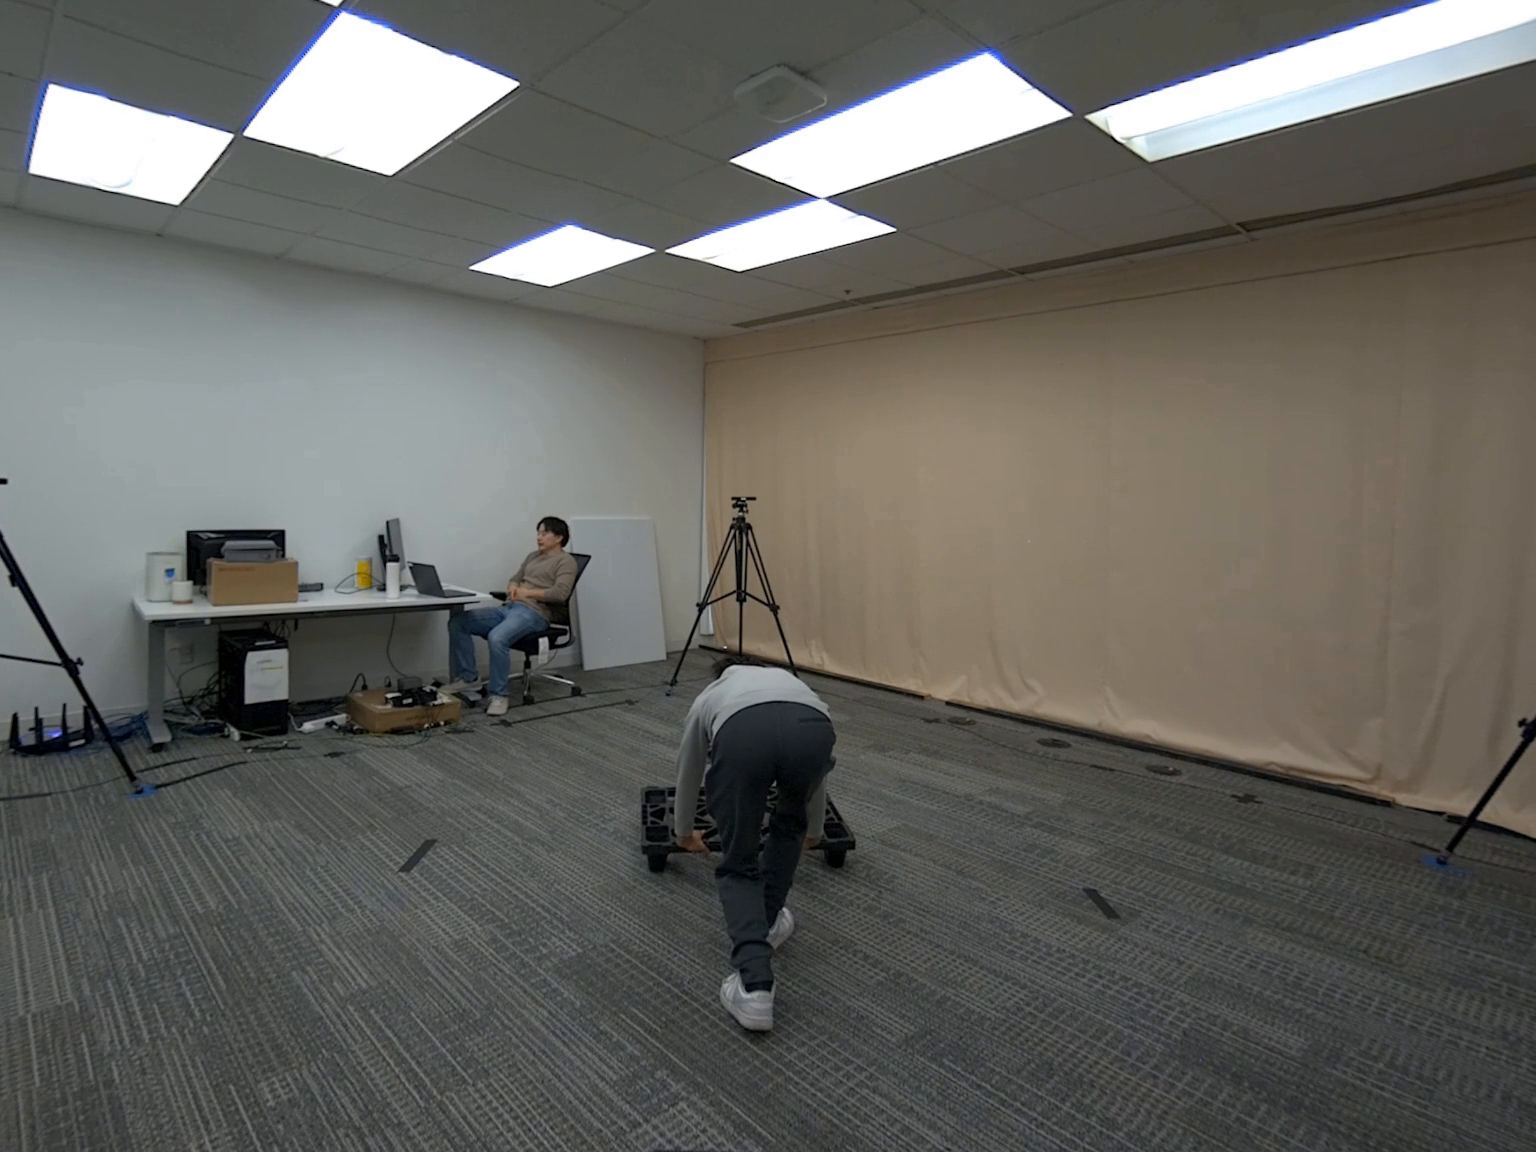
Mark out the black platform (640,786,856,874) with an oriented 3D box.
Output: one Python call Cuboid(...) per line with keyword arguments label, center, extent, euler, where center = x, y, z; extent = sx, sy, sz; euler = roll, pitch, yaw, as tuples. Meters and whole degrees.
Cuboid(label="black platform", center=(-0.117, 1.012, 3.387), extent=(0.801, 0.143, 0.610), euler=(1, 5, -7))
